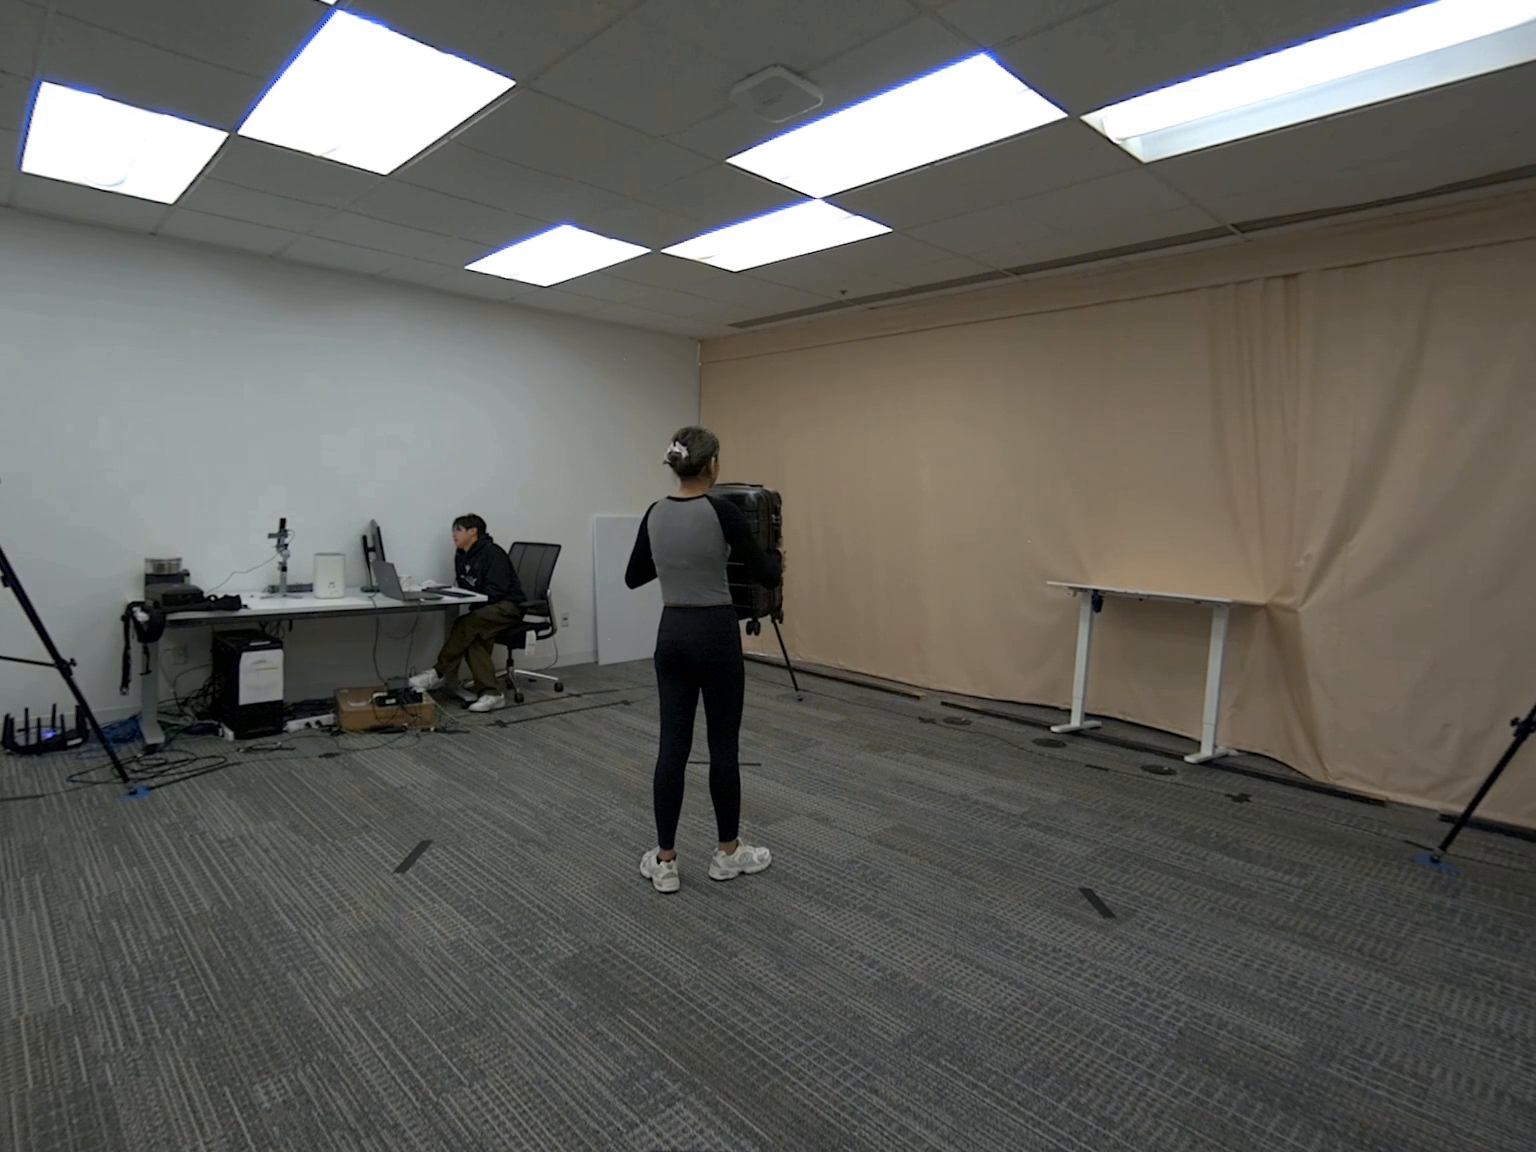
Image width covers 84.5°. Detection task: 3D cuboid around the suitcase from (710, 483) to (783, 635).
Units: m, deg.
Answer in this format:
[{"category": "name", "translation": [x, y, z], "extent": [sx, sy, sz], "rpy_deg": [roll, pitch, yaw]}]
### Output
[{"category": "suitcase", "translation": [-0.137, -0.084, 3.291], "extent": [0.384, 0.546, 0.244], "rpy_deg": [5, 10, 29]}]
